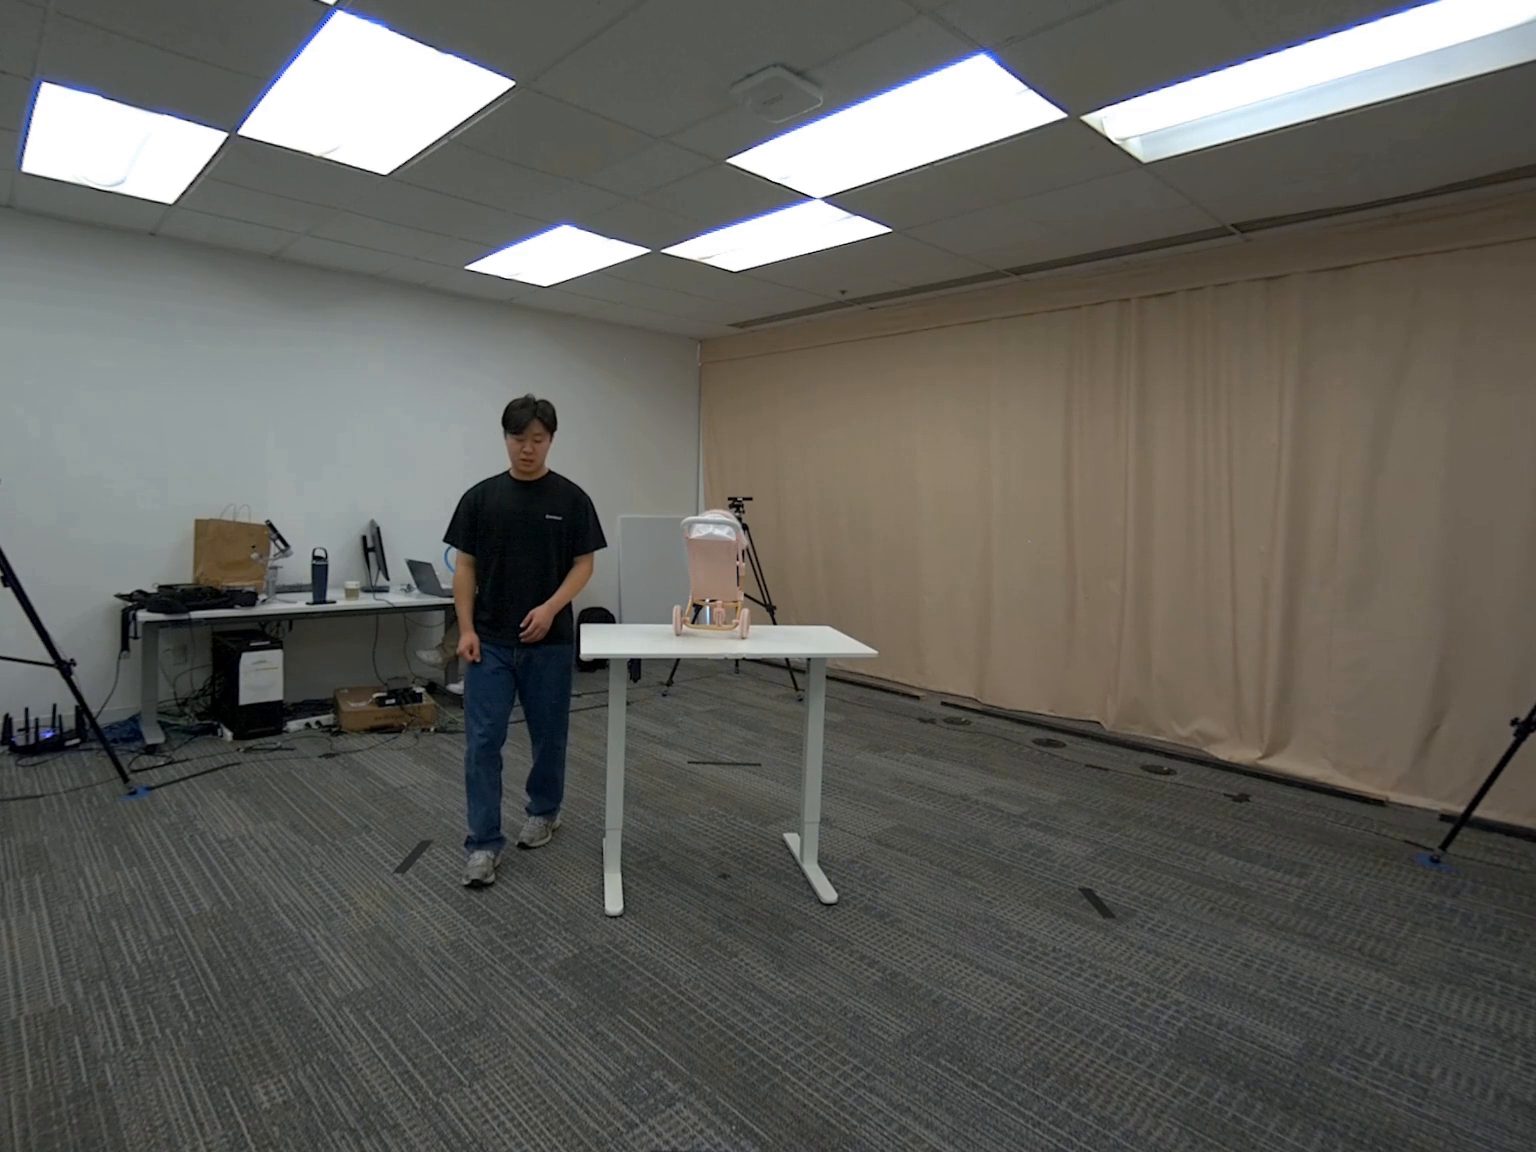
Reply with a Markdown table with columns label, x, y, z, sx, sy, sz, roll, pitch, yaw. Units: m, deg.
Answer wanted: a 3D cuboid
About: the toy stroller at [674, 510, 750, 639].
| label | x | y | z | sx | sy | sz | roll | pitch | yaw |
| --- | --- | --- | --- | --- | --- | --- | --- | --- | --- |
| toy stroller | -0.200 | -0.008 | 3.145 | 0.284 | 0.528 | 0.343 | 4 | 19 | 9 |
